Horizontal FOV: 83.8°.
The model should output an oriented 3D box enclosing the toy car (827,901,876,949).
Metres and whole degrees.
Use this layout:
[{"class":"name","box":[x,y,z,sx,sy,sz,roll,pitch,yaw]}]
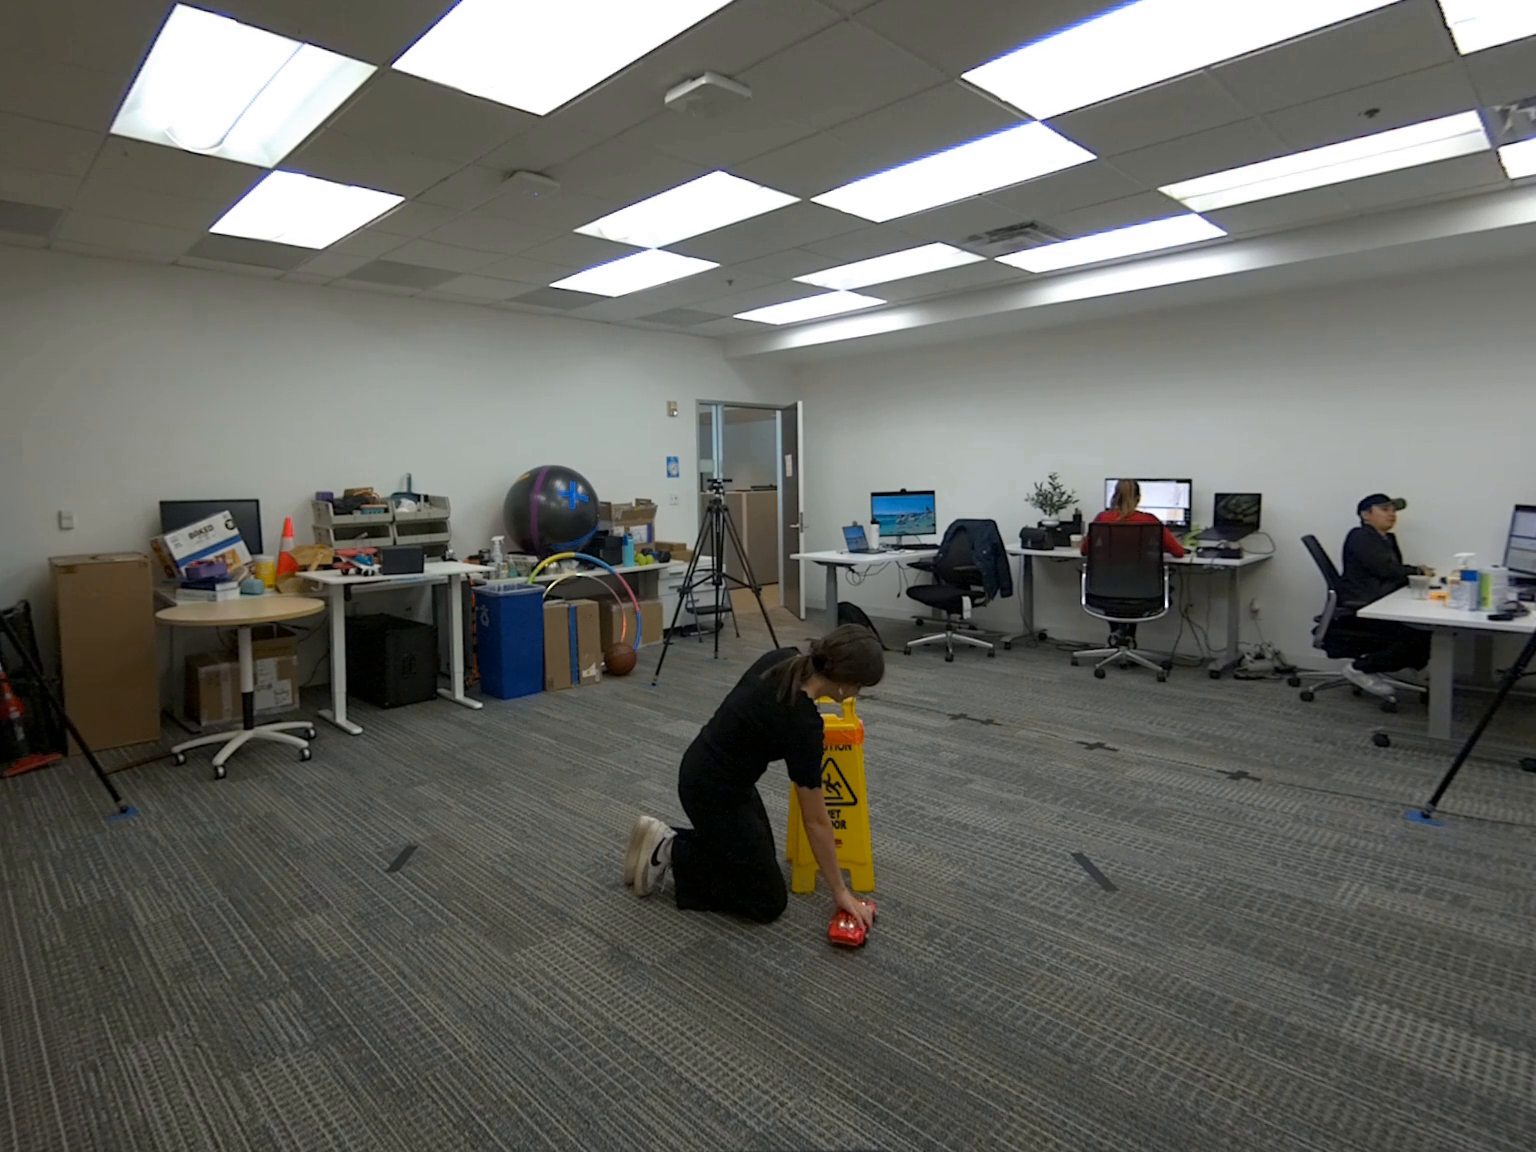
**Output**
[{"class":"toy car","box":[0.255,1.069,2.610,0.133,0.083,0.249,0,-4,19]}]
